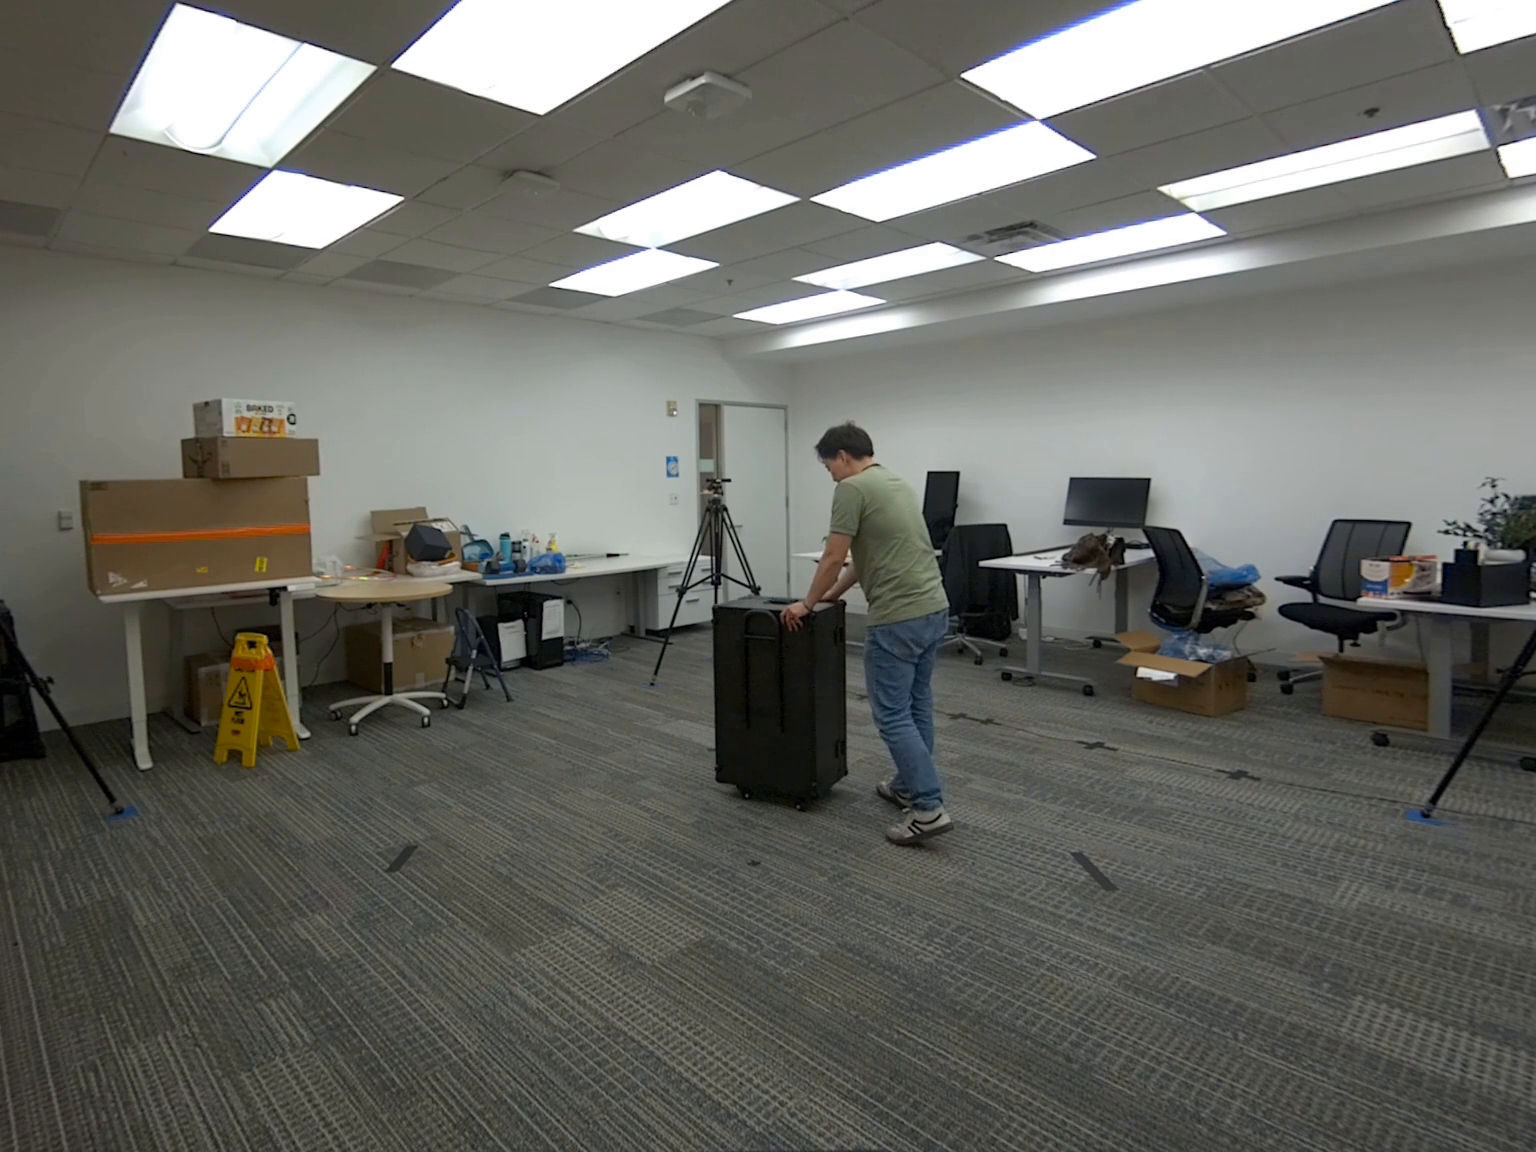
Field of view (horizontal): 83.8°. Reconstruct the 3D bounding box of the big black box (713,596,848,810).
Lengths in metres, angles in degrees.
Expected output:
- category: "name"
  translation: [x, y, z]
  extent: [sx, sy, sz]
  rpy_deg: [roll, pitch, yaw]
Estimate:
- category: "big black box"
  translation: [0.059, 0.546, 3.754]
  extent: [0.535, 0.858, 0.388]
  rpy_deg: [2, 6, 29]
